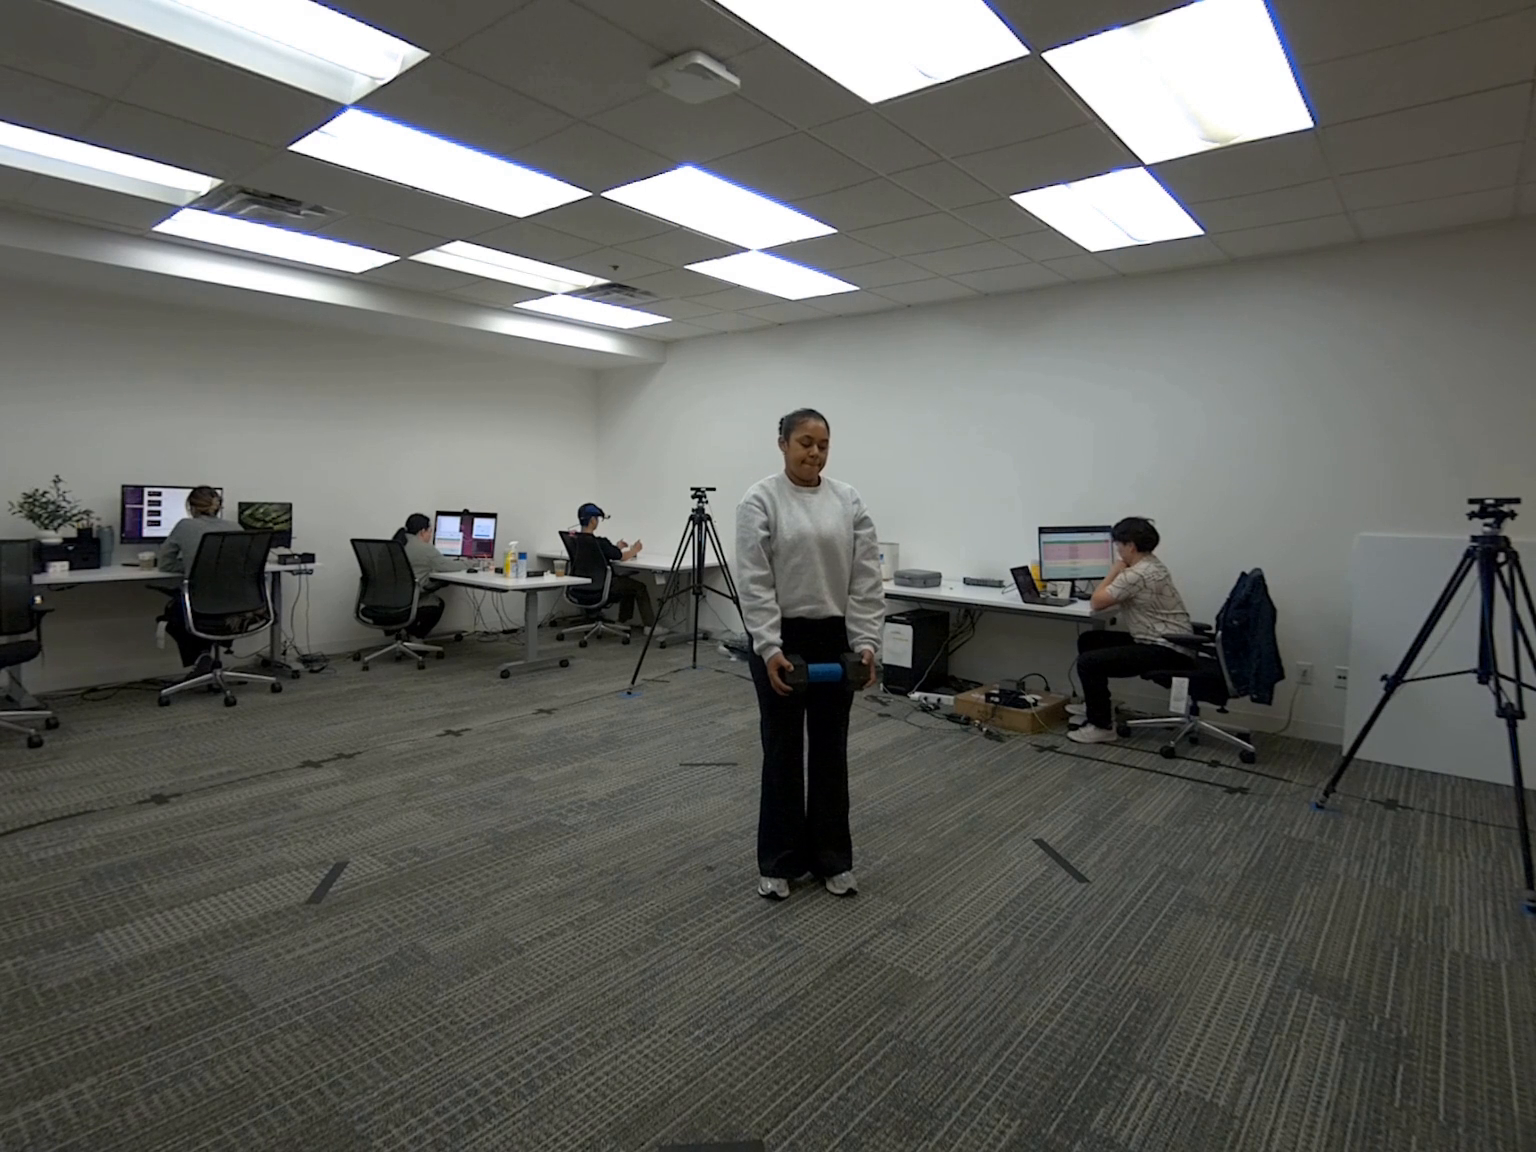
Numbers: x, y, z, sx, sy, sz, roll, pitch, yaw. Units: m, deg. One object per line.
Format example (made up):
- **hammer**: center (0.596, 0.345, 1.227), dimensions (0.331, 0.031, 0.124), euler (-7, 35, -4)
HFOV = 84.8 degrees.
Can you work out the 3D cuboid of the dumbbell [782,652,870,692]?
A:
- **dumbbell**: center (0.171, 0.310, 2.767), dimensions (0.288, 0.107, 0.127), euler (2, 27, -17)
